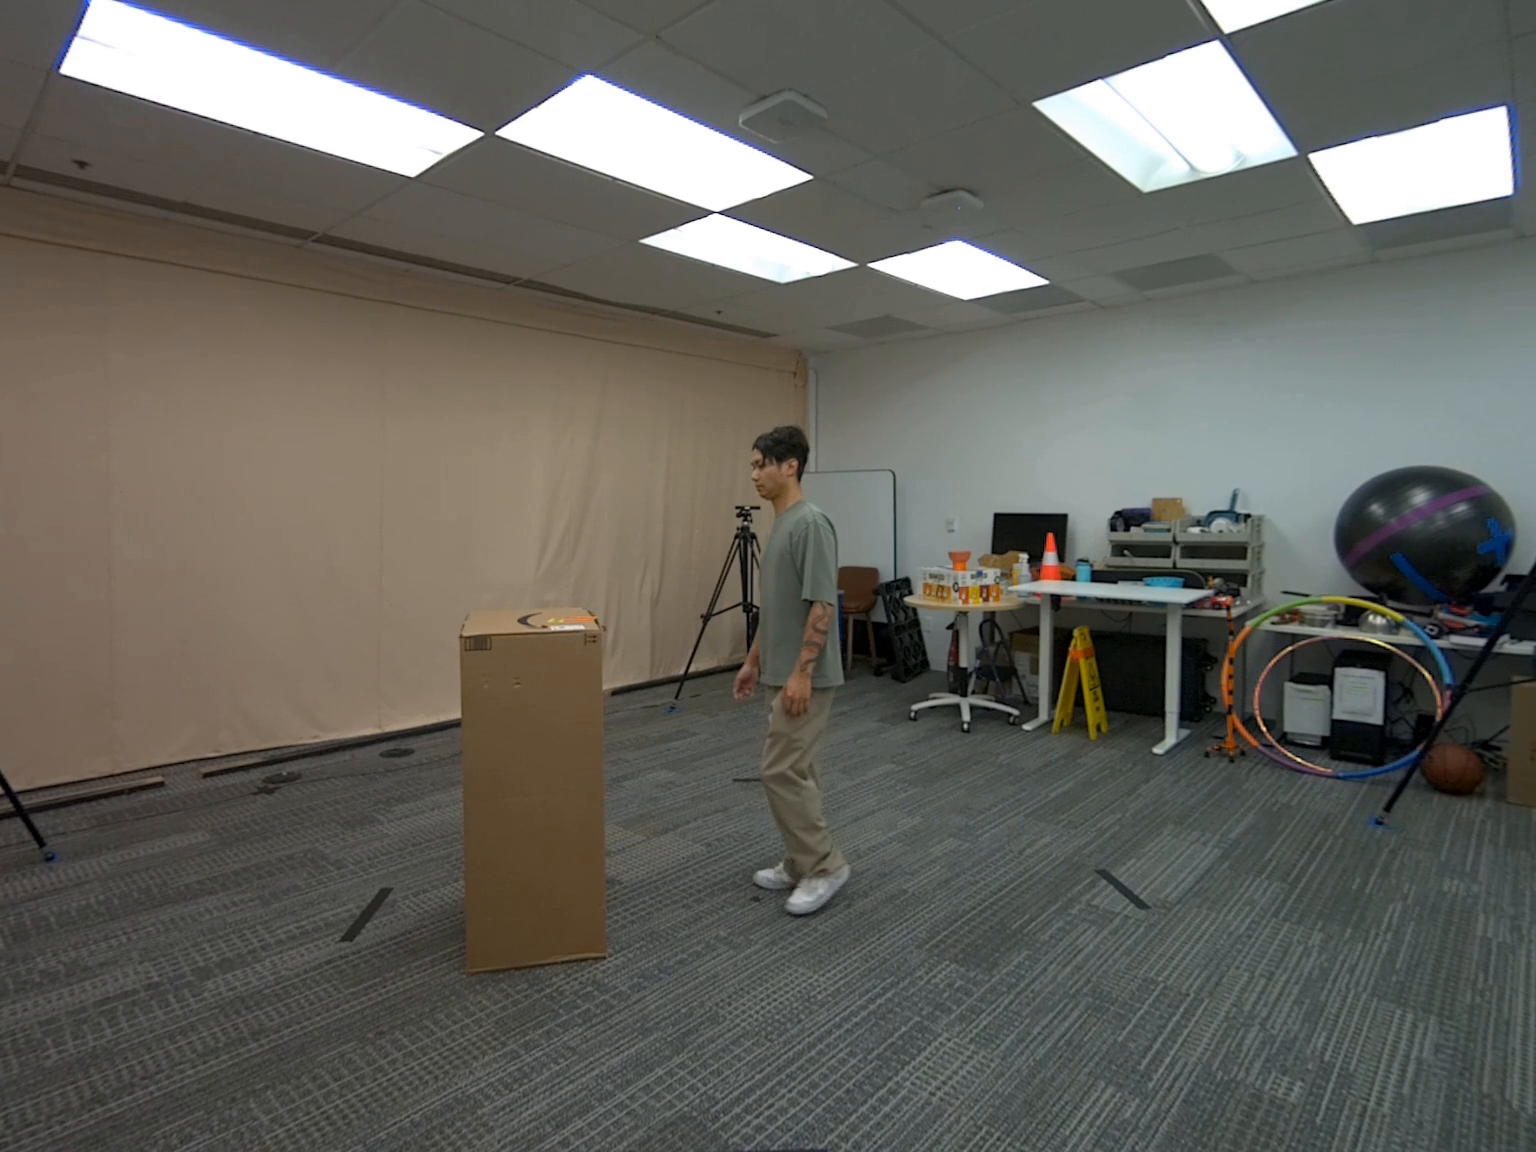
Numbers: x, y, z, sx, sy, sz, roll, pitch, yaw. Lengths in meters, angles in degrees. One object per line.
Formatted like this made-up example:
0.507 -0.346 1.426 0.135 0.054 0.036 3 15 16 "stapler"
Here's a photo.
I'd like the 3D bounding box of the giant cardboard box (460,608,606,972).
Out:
-0.783 0.656 2.809 0.419 1.024 0.588 -1 3 -17 "giant cardboard box"
